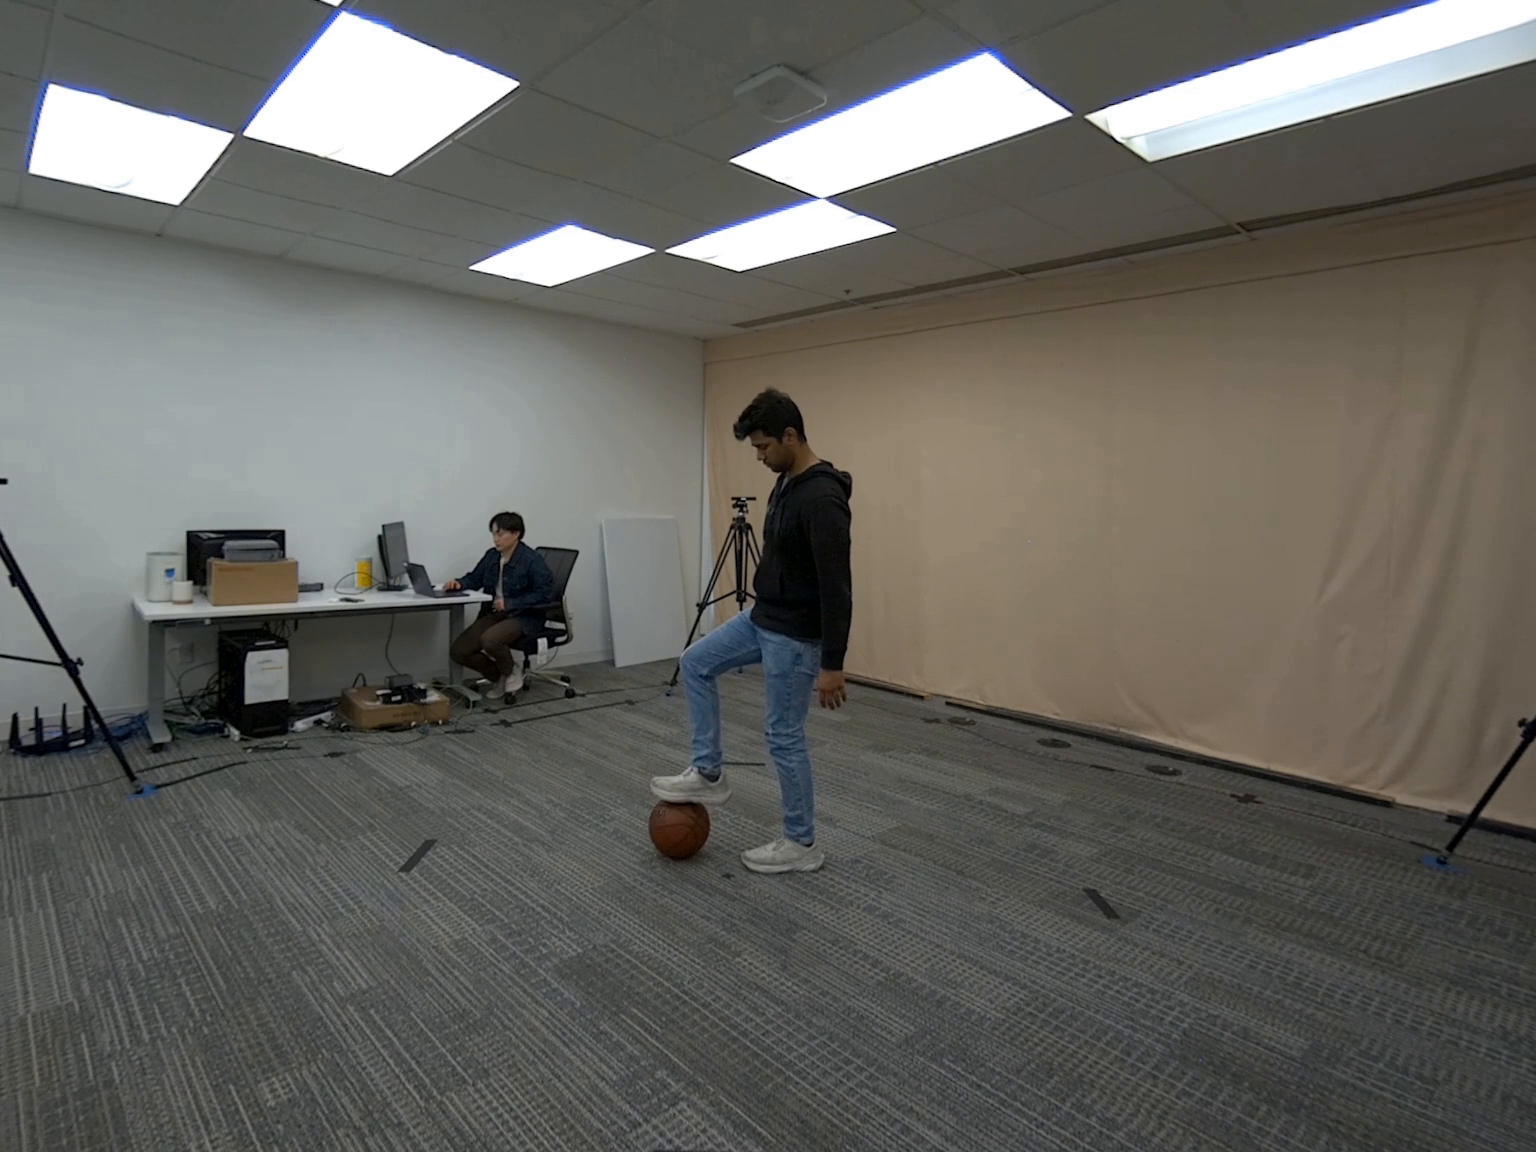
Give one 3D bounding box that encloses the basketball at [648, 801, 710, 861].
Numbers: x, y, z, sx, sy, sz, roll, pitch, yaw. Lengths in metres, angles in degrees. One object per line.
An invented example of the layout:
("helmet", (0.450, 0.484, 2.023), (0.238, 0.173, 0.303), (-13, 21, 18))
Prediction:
("basketball", (-0.353, 0.966, 3.267), (0.236, 0.235, 0.237), (1, 4, -1))
